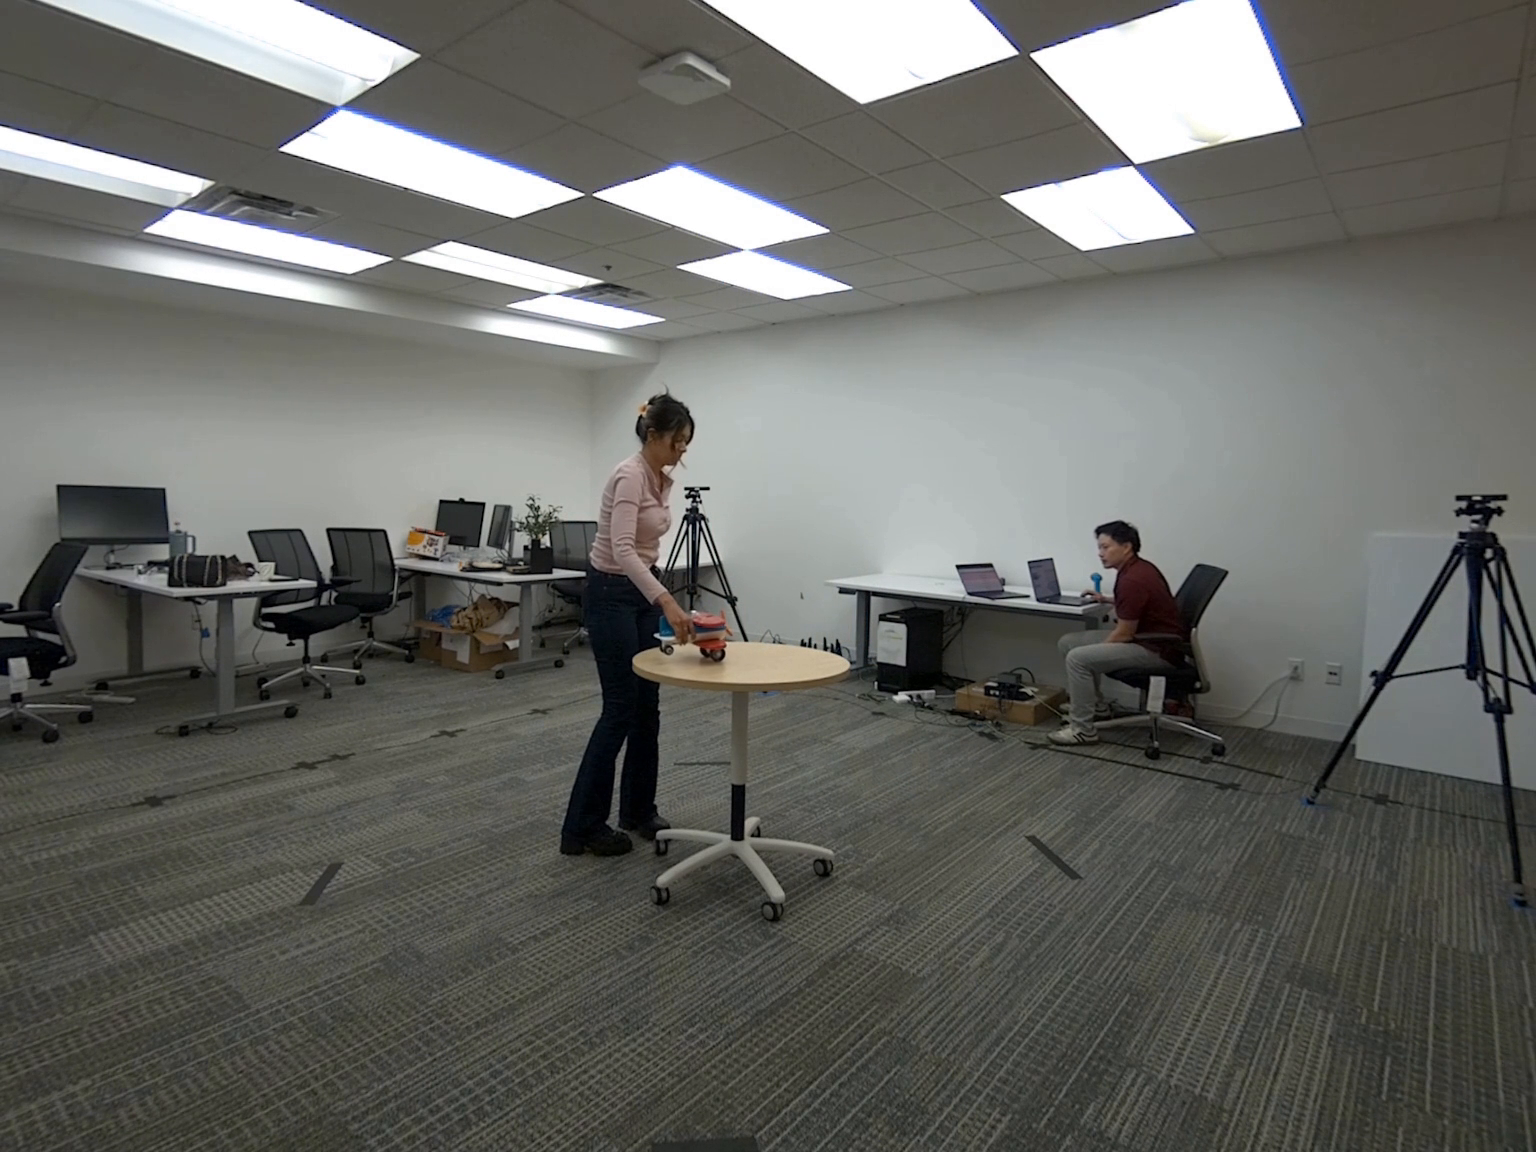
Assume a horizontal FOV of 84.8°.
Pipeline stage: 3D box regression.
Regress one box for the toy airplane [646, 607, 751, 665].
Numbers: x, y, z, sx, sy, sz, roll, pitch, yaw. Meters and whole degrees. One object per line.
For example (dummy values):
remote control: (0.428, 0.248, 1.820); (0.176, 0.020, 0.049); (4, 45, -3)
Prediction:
toy airplane: (-0.252, 0.206, 2.966); (0.260, 0.156, 0.250); (9, 0, 38)
